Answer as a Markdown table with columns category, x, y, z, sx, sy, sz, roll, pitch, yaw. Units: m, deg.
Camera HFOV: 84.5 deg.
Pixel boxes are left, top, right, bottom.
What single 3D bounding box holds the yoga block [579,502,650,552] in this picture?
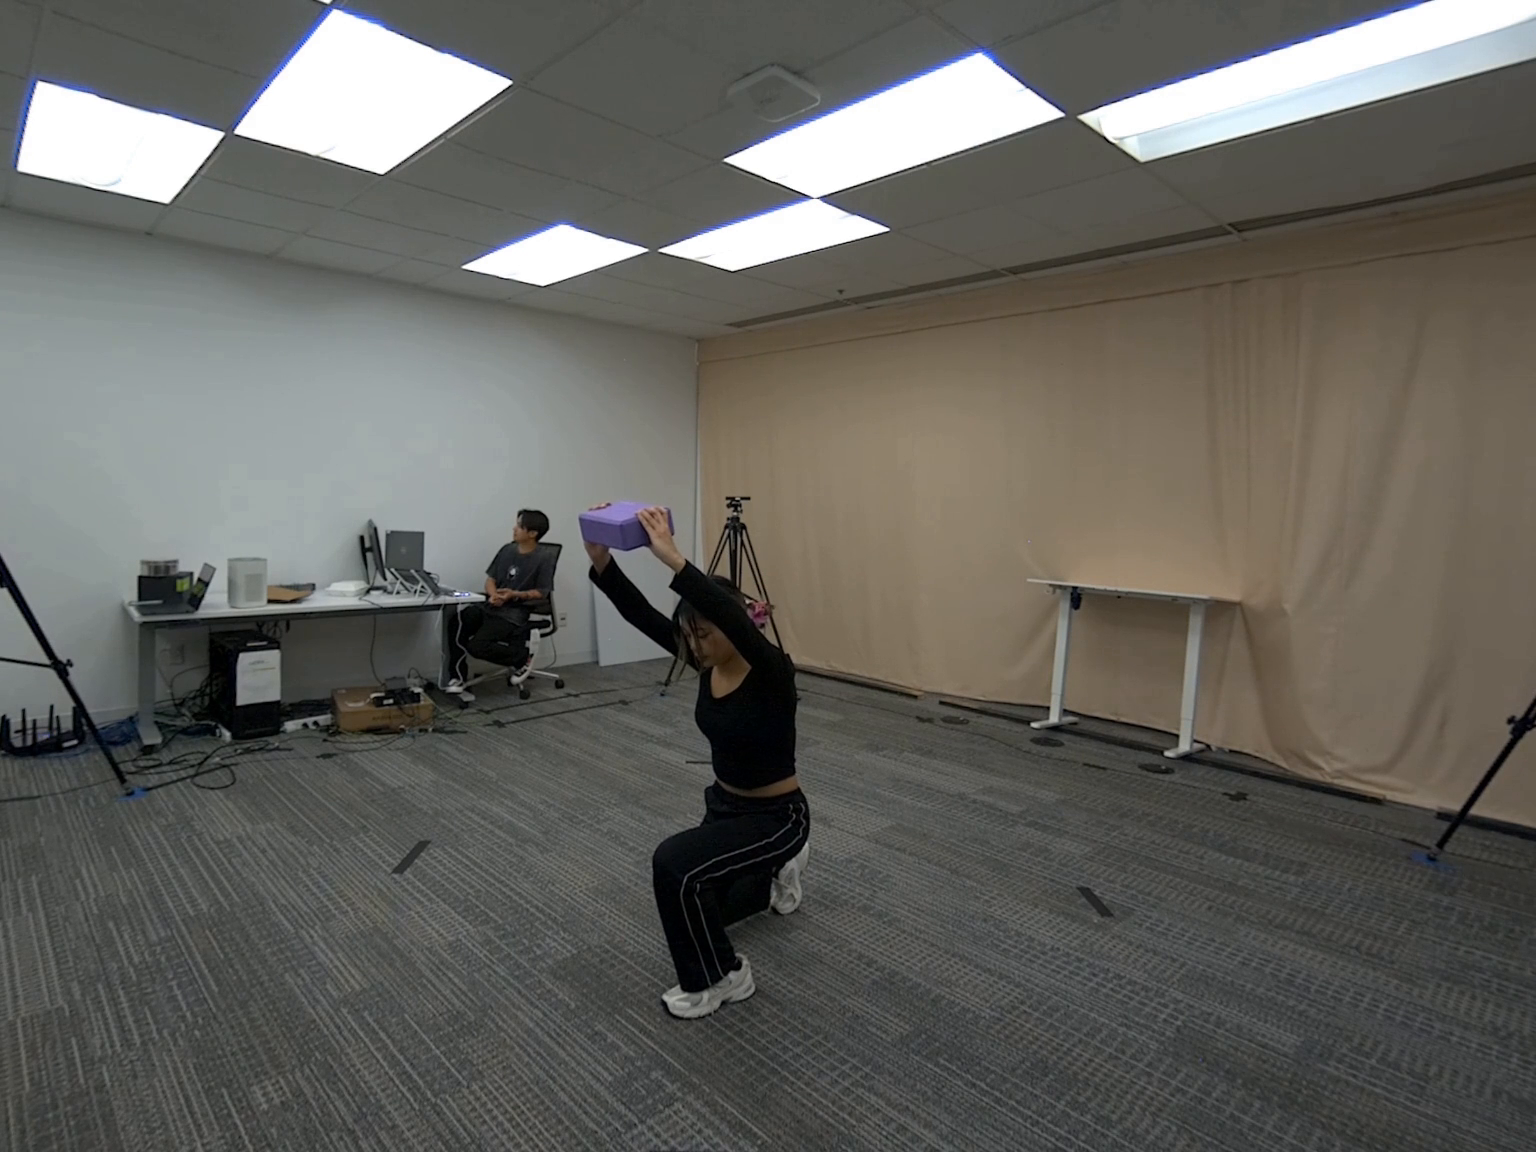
| category | x | y | z | sx | sy | sz | roll | pitch | yaw |
| --- | --- | --- | --- | --- | --- | --- | --- | --- | --- |
| yoga block | -0.355 | -0.127 | 2.096 | 0.147 | 0.075 | 0.235 | -22 | 21 | -30 |
